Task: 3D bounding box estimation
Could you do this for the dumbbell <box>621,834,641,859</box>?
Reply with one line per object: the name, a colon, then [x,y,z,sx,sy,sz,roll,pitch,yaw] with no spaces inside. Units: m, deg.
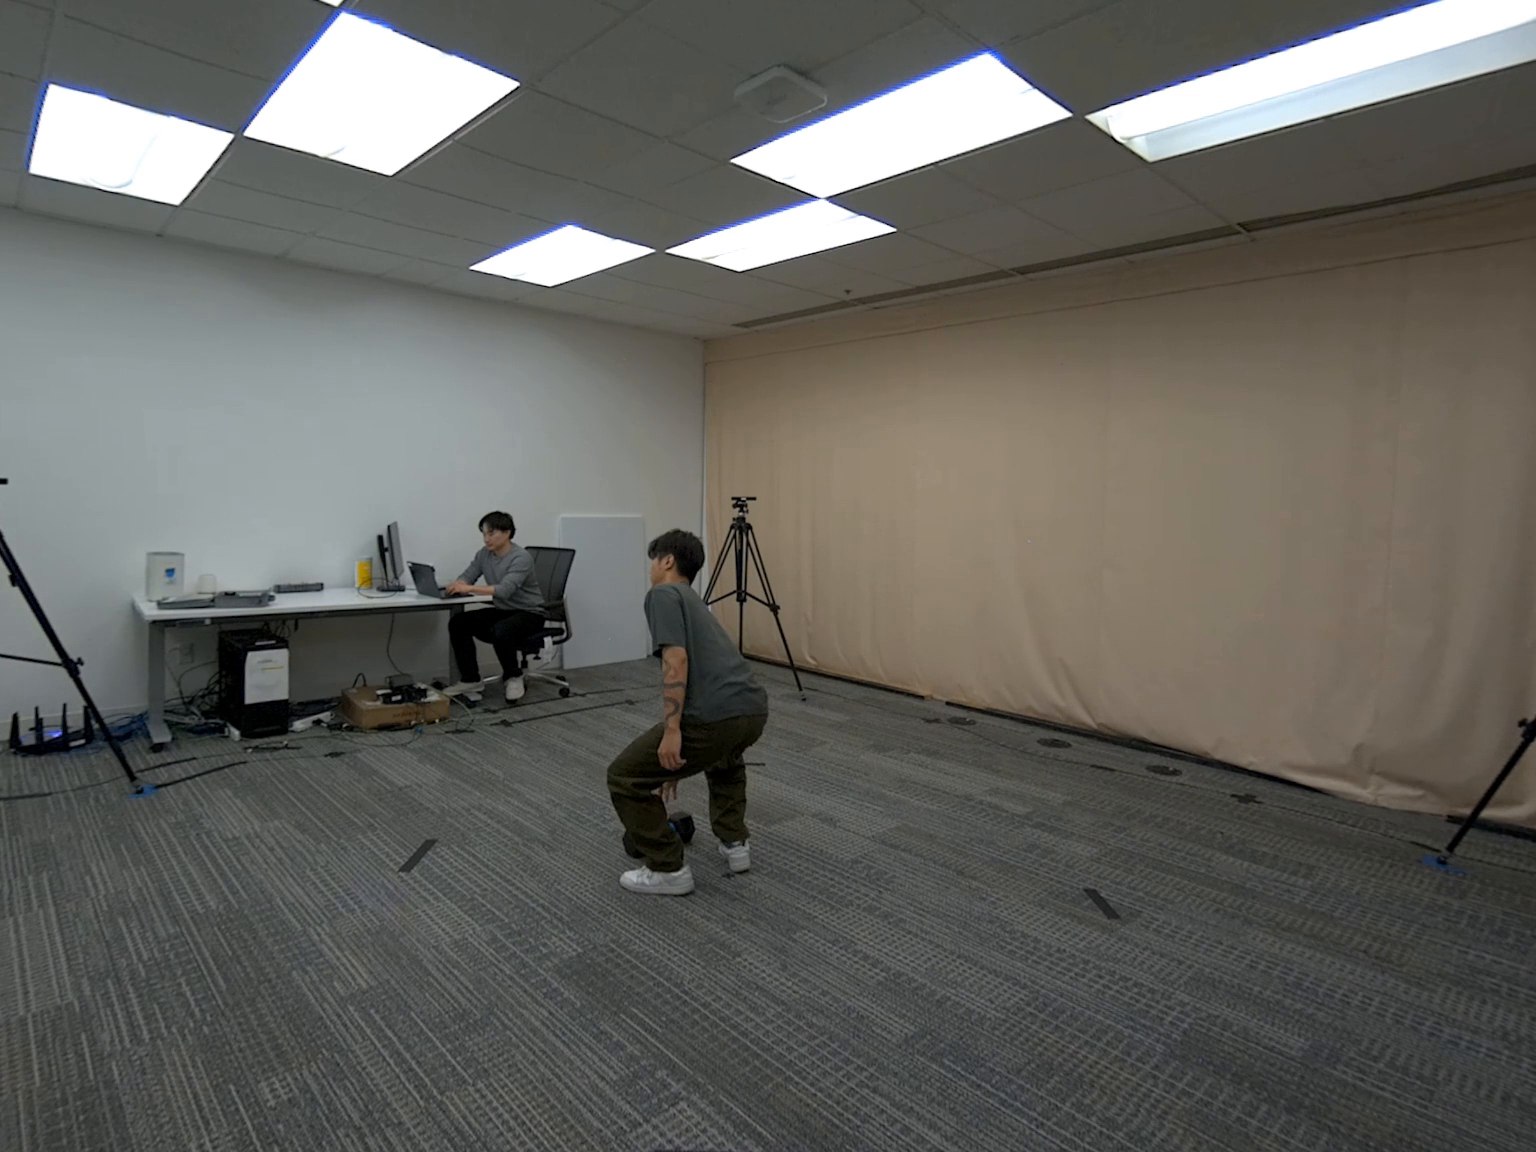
dumbbell: [-0.431,1.026,3.340,0.287,0.125,0.109,-3,-26,-44]
